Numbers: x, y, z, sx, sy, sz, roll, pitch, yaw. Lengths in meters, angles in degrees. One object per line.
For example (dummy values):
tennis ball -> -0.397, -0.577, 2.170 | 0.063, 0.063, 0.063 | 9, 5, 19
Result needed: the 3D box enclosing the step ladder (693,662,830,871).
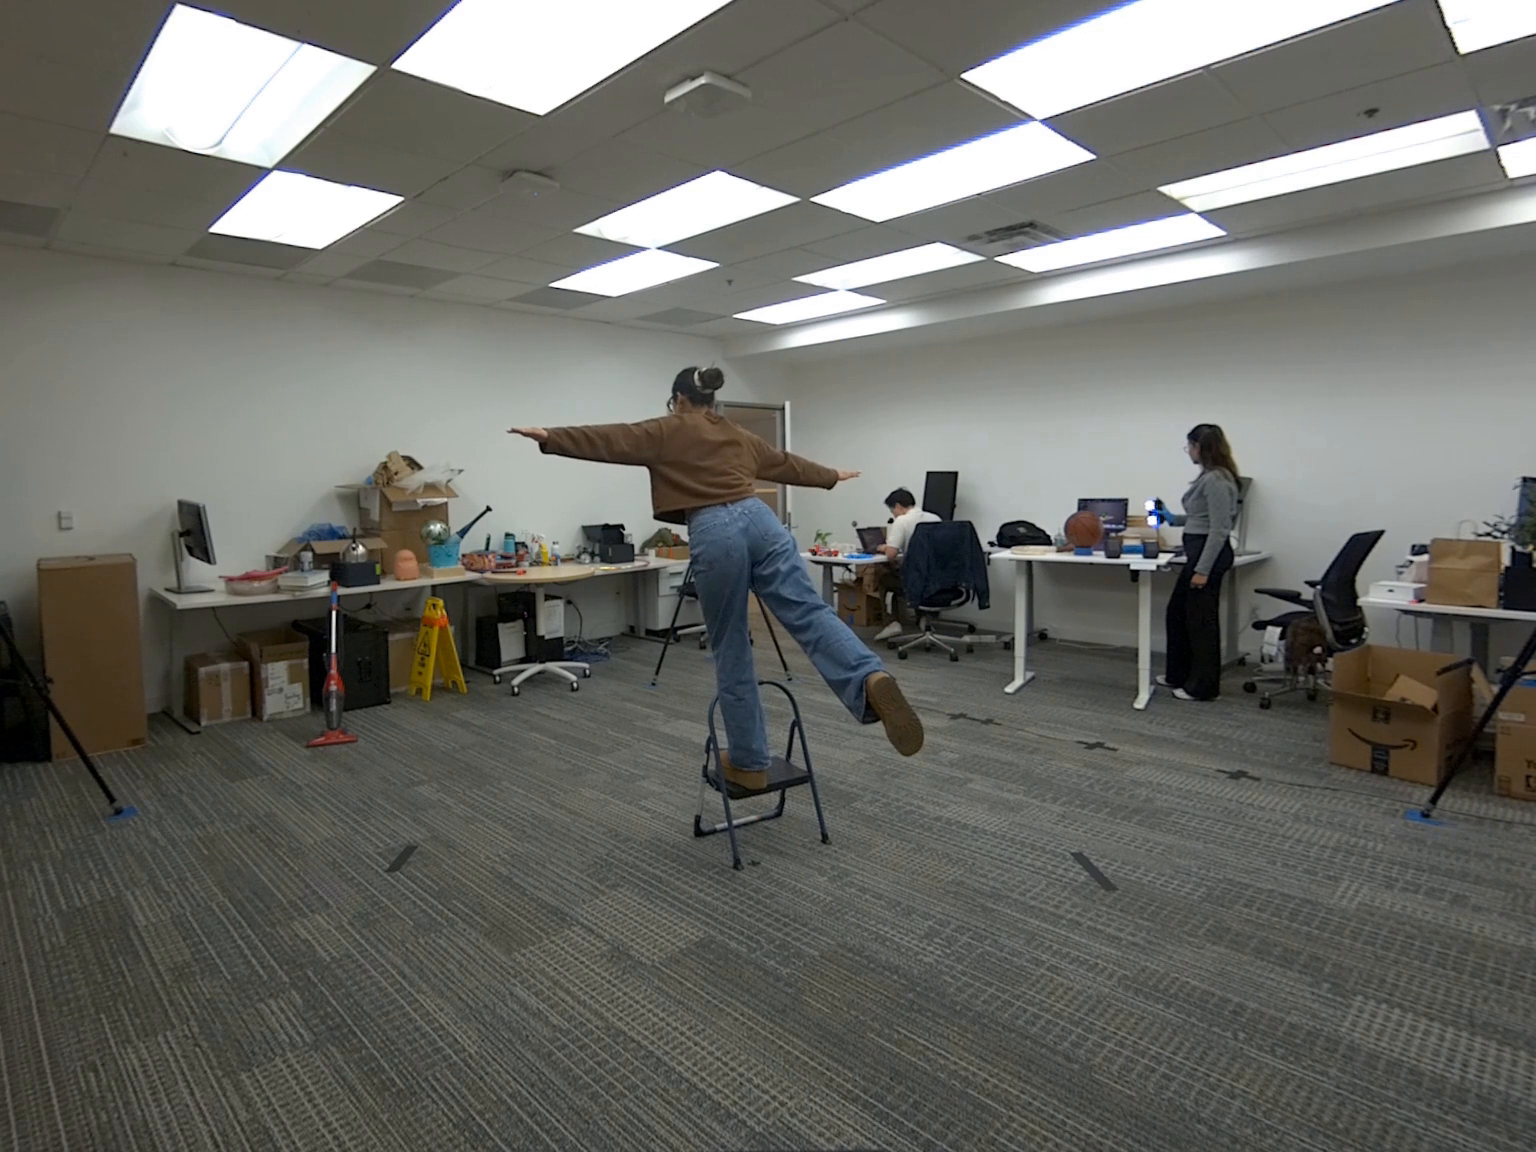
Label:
step ladder -> -0.030, 0.722, 3.292 | 0.420, 0.604, 0.359 | -4, 5, -33
